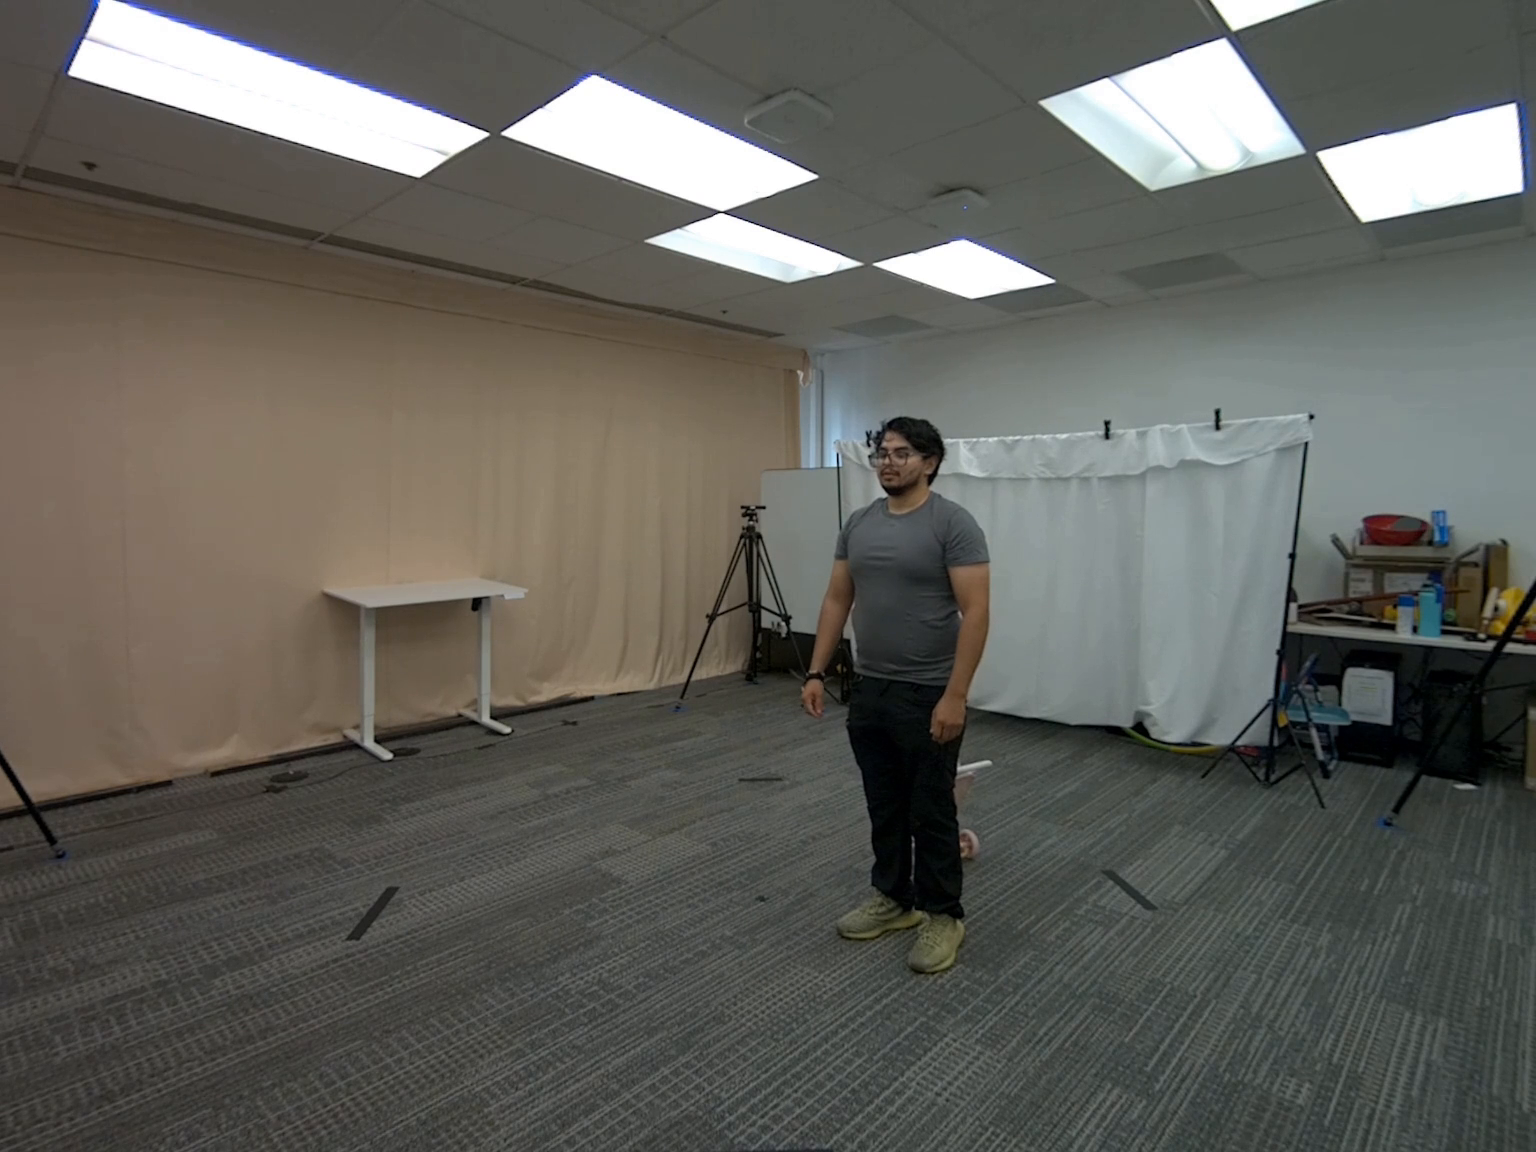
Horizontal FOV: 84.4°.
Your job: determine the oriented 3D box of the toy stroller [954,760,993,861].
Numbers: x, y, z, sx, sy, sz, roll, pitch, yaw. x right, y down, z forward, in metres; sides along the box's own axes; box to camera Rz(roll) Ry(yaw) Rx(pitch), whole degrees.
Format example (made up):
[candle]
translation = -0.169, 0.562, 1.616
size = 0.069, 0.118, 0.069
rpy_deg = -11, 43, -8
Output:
[toy stroller]
translation = 0.661, 0.888, 3.317
size = 0.274, 0.530, 0.353
rpy_deg = -2, 19, -28
